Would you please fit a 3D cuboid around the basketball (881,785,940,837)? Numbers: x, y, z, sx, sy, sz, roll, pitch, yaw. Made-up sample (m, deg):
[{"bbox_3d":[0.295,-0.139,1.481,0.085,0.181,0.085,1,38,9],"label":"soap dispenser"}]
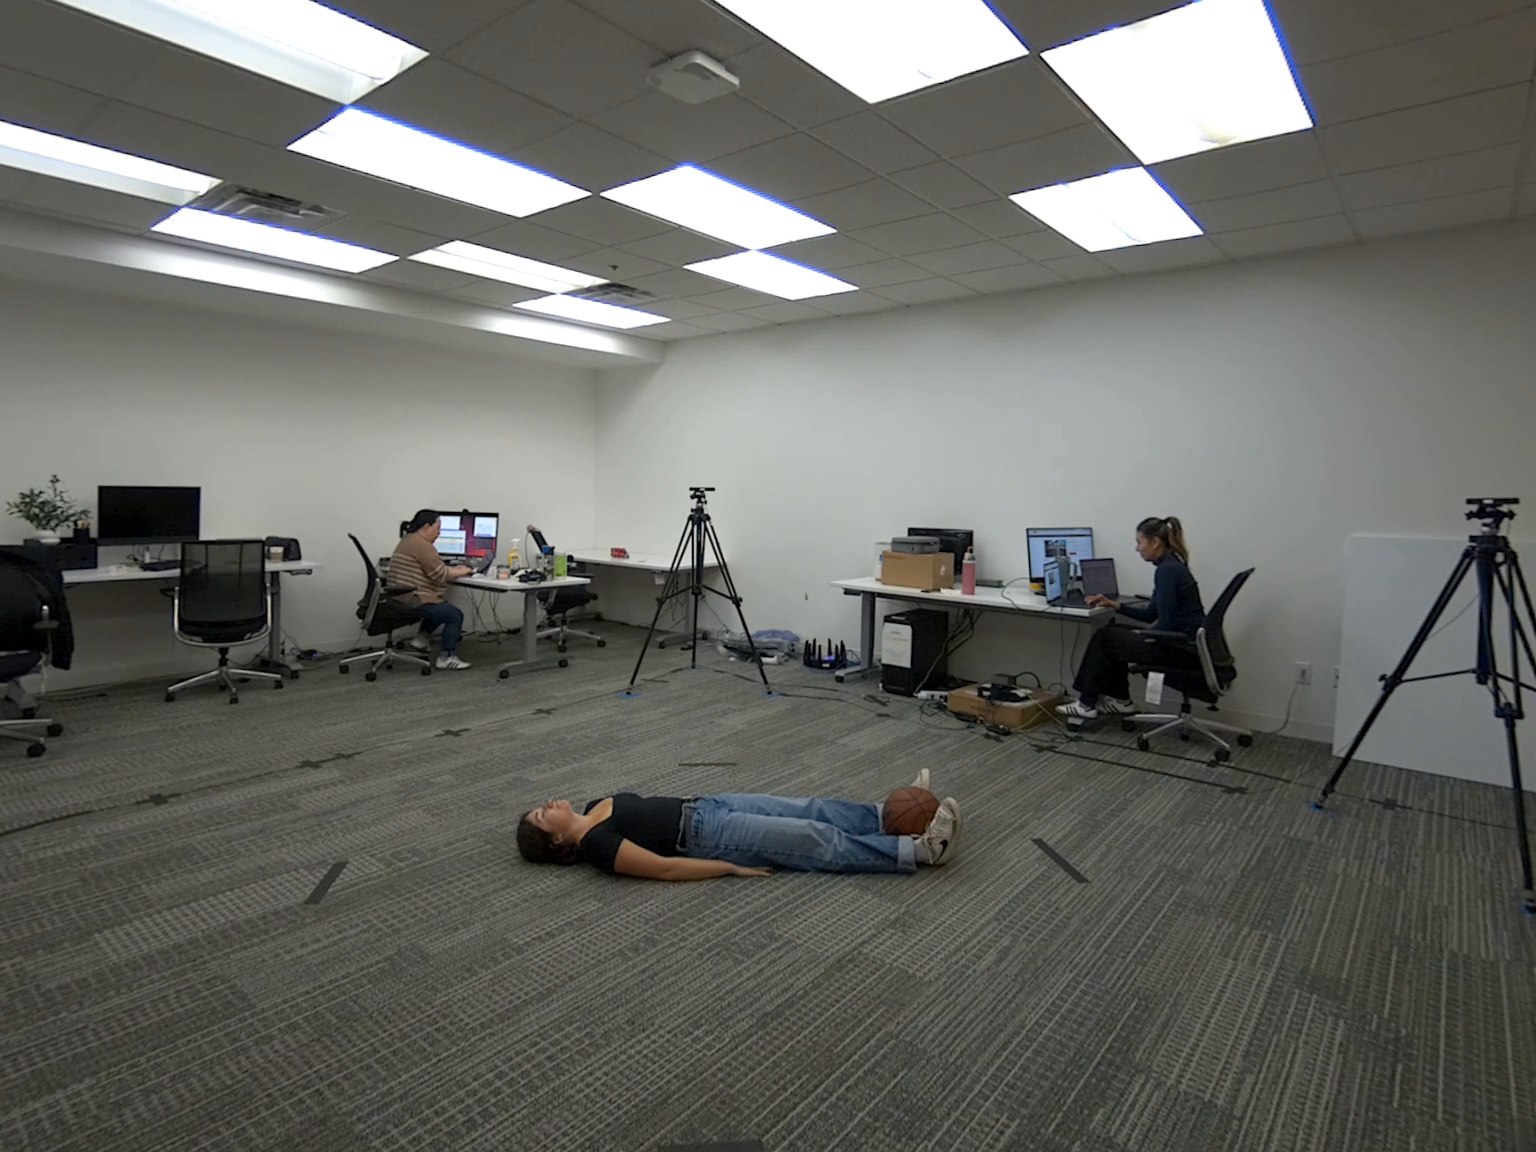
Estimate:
[{"bbox_3d":[0.557,0.940,3.329,0.235,0.235,0.237,1,4,-2],"label":"basketball"}]
